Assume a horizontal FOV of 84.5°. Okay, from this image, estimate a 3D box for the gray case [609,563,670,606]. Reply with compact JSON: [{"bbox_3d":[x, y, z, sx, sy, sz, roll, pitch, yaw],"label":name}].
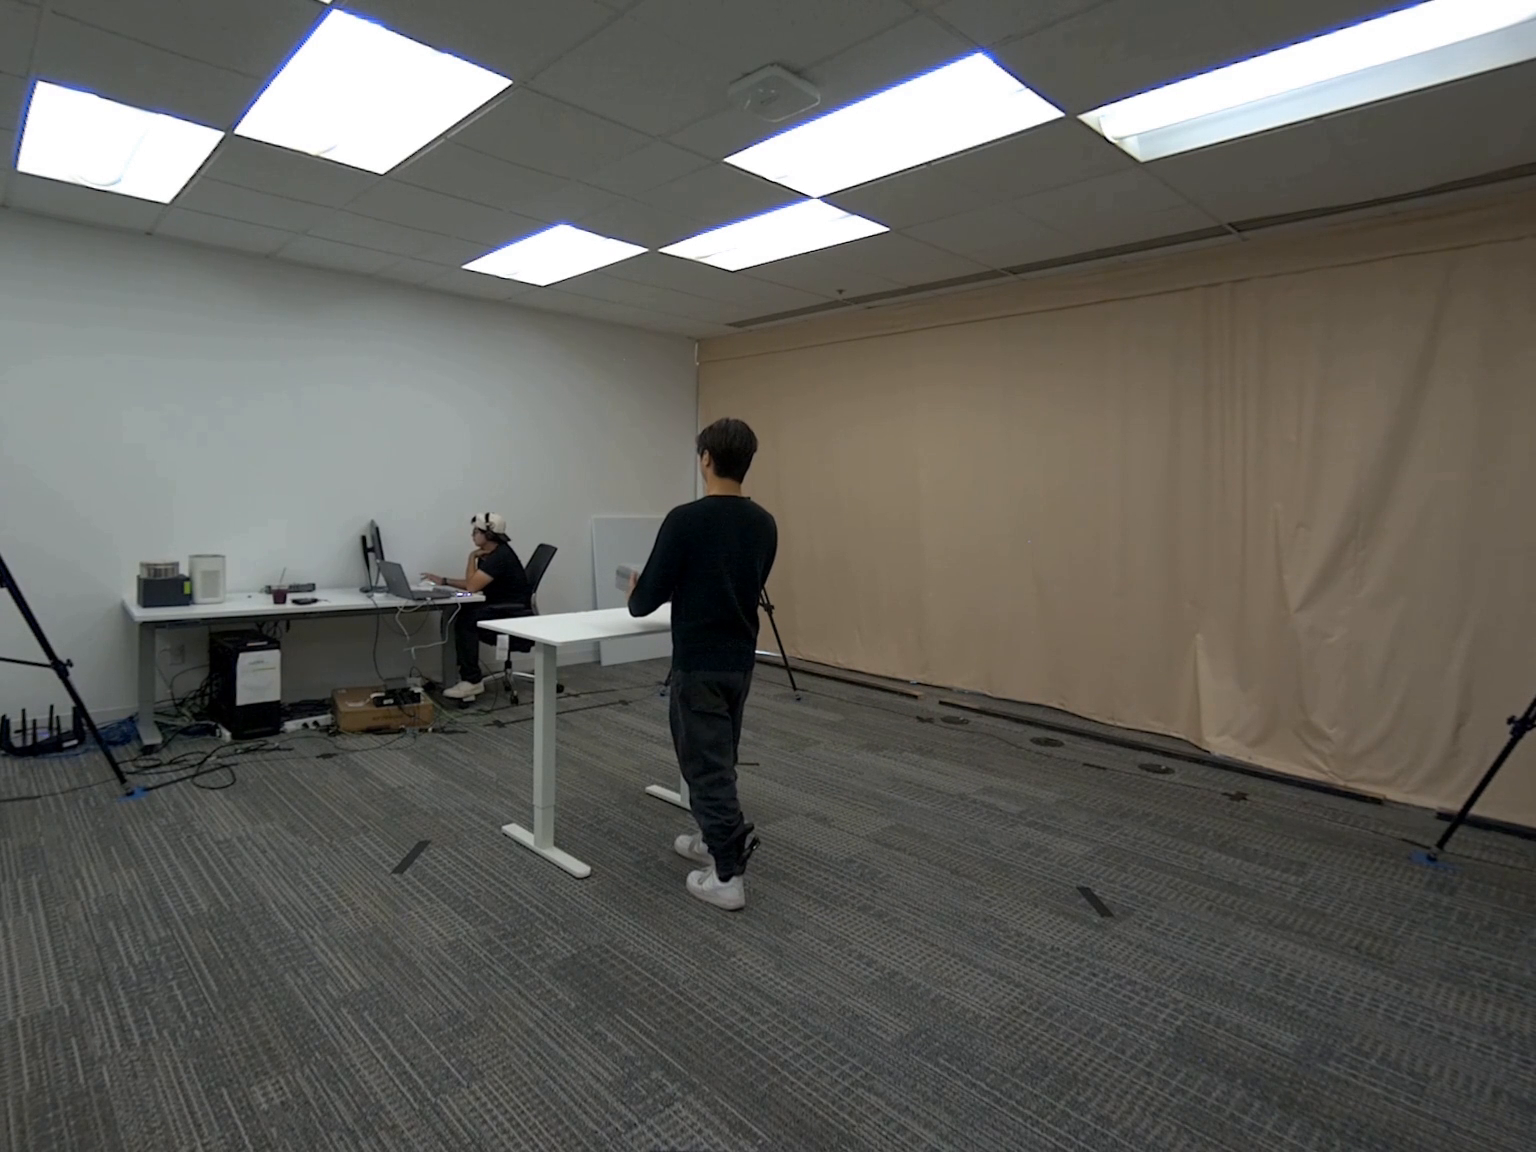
[{"bbox_3d":[-0.430,0.032,3.284,0.250,0.104,0.268,3,10,-42],"label":"gray case"}]
